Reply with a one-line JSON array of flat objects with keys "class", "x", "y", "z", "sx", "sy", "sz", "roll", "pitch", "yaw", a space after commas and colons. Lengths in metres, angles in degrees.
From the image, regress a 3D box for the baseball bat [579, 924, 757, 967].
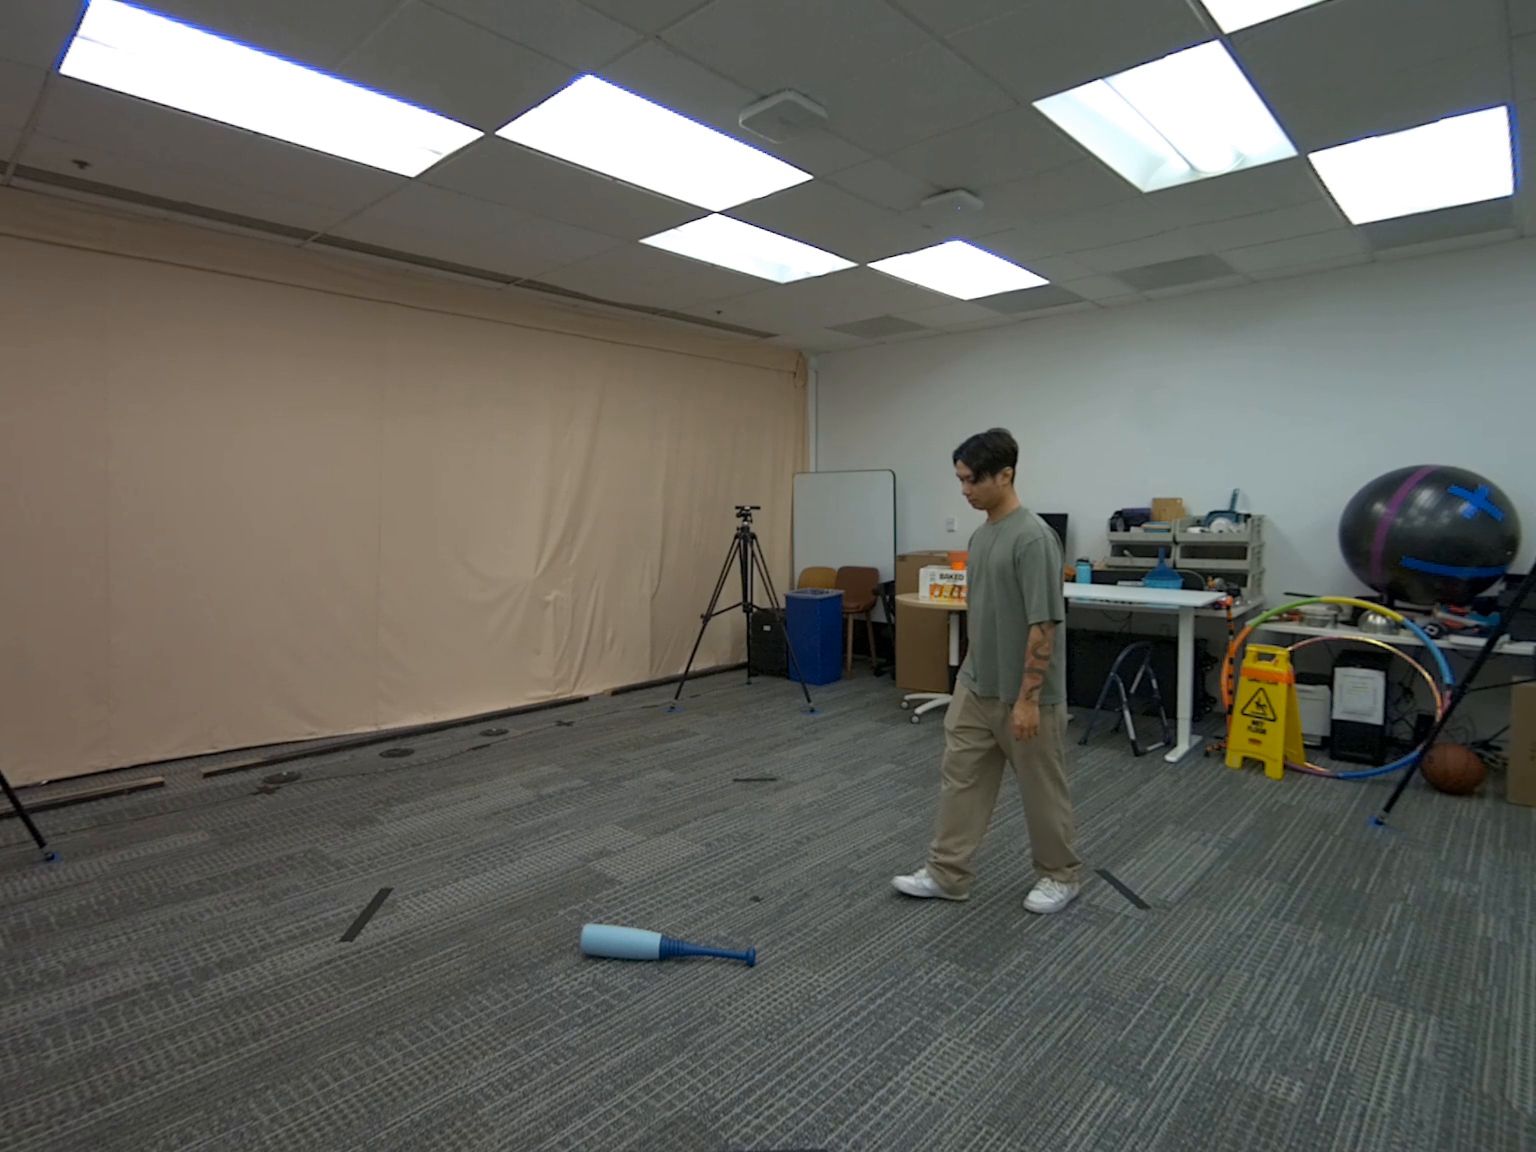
[{"class": "baseball bat", "x": -0.307, "y": 1.147, "z": 2.584, "sx": 0.548, "sy": 0.089, "sz": 0.088, "roll": 4, "pitch": 4, "yaw": 7}]
